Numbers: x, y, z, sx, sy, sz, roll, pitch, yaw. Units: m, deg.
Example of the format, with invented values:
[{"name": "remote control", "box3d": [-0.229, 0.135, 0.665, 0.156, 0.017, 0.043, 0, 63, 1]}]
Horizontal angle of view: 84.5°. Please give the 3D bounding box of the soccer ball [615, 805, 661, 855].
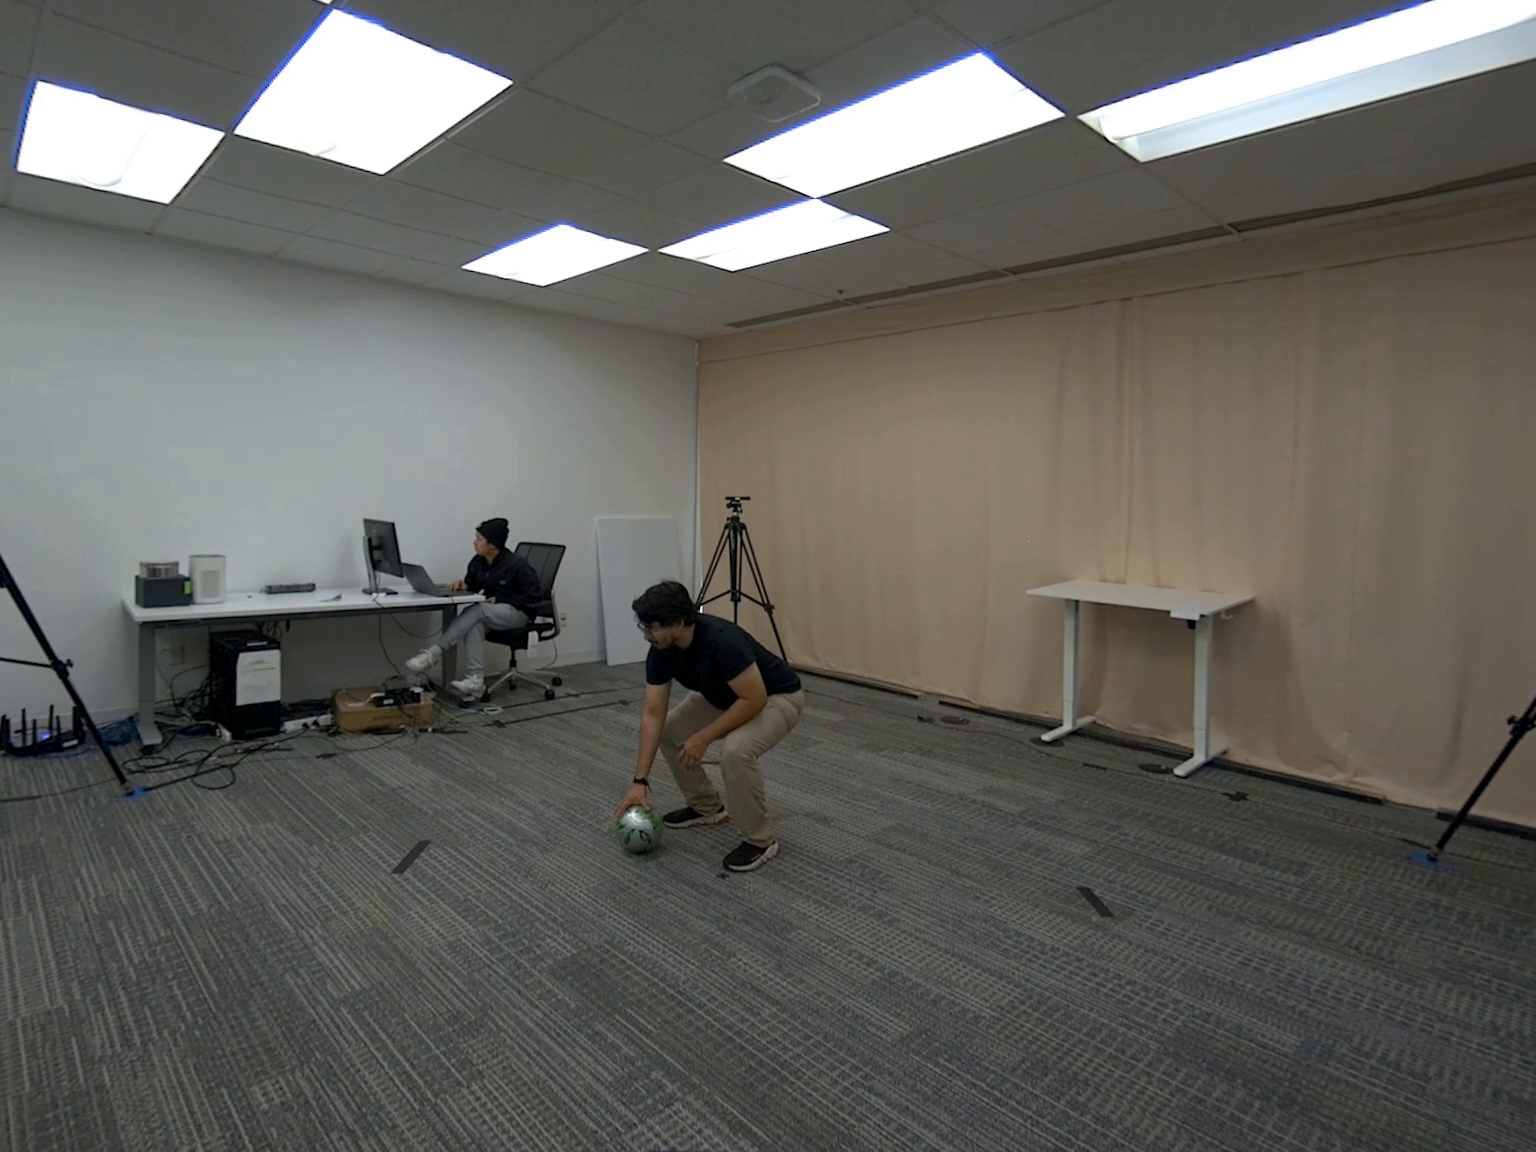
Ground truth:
[{"name": "soccer ball", "box3d": [-0.509, 0.979, 3.304, 0.187, 0.187, 0.188, 1, 4, -1]}]
